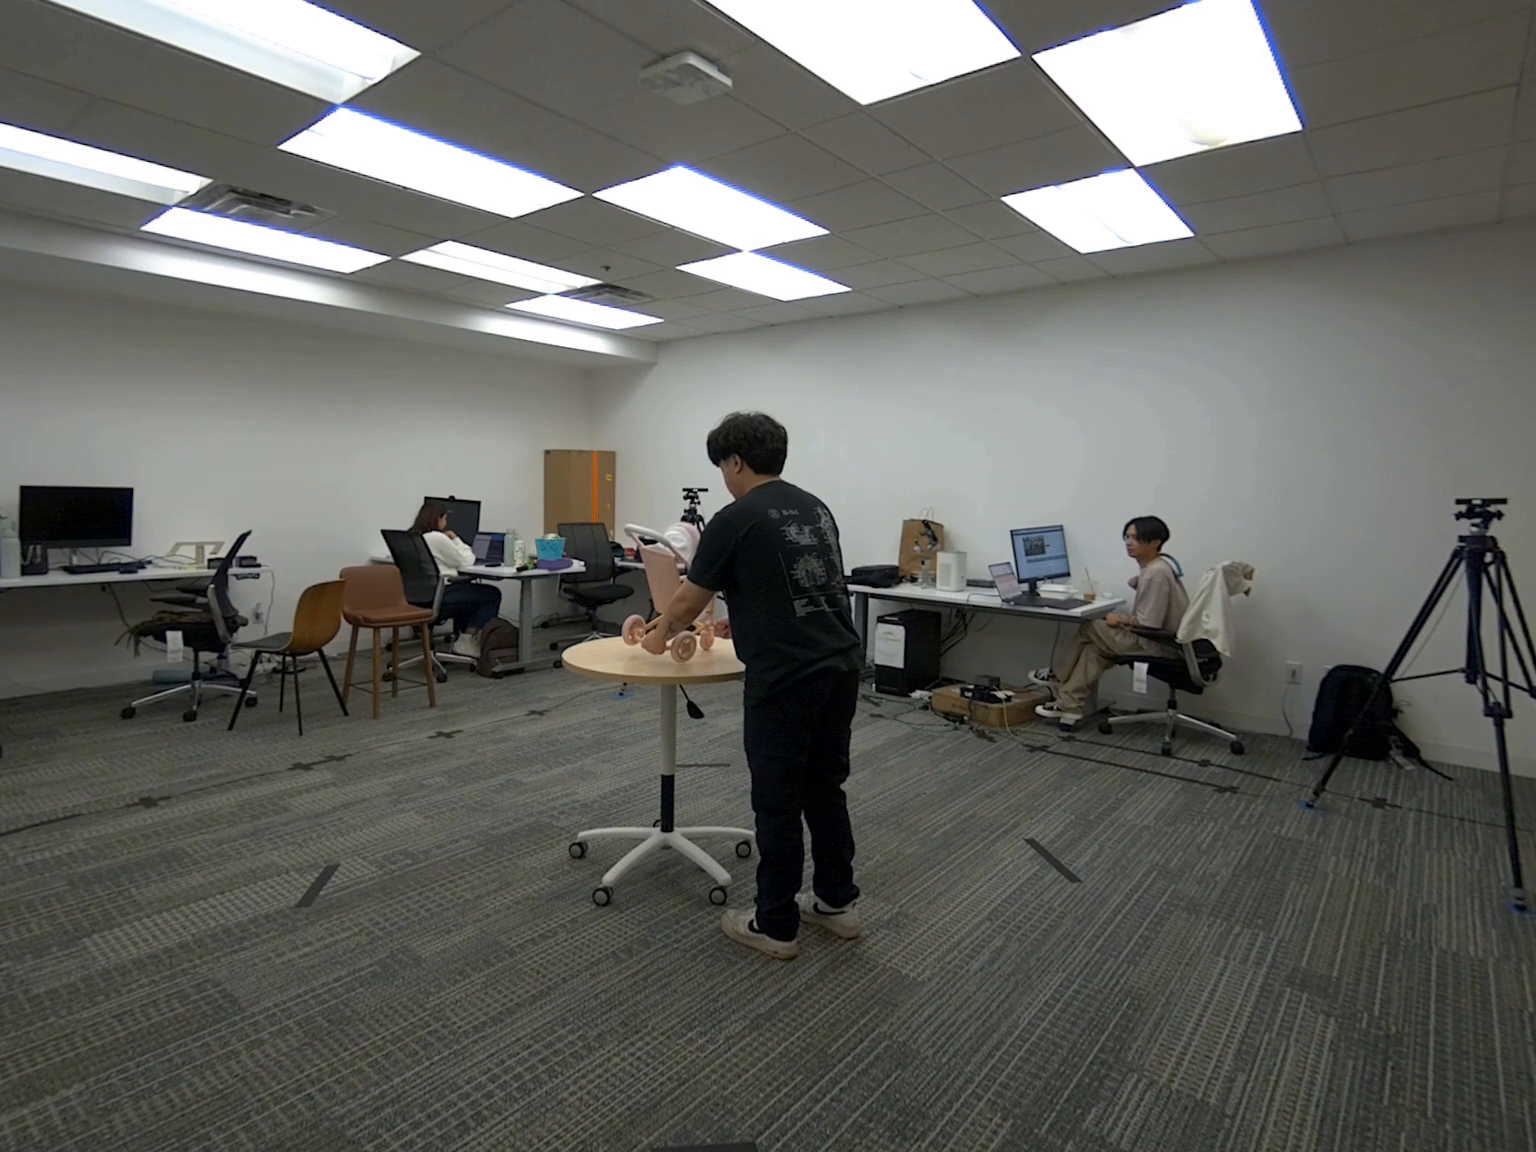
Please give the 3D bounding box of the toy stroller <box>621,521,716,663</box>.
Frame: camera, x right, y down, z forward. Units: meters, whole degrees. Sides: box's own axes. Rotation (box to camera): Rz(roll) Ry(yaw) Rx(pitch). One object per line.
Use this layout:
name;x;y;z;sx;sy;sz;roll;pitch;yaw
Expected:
toy stroller;-0.329;0.045;2.996;0.292;0.527;0.334;12;21;43
